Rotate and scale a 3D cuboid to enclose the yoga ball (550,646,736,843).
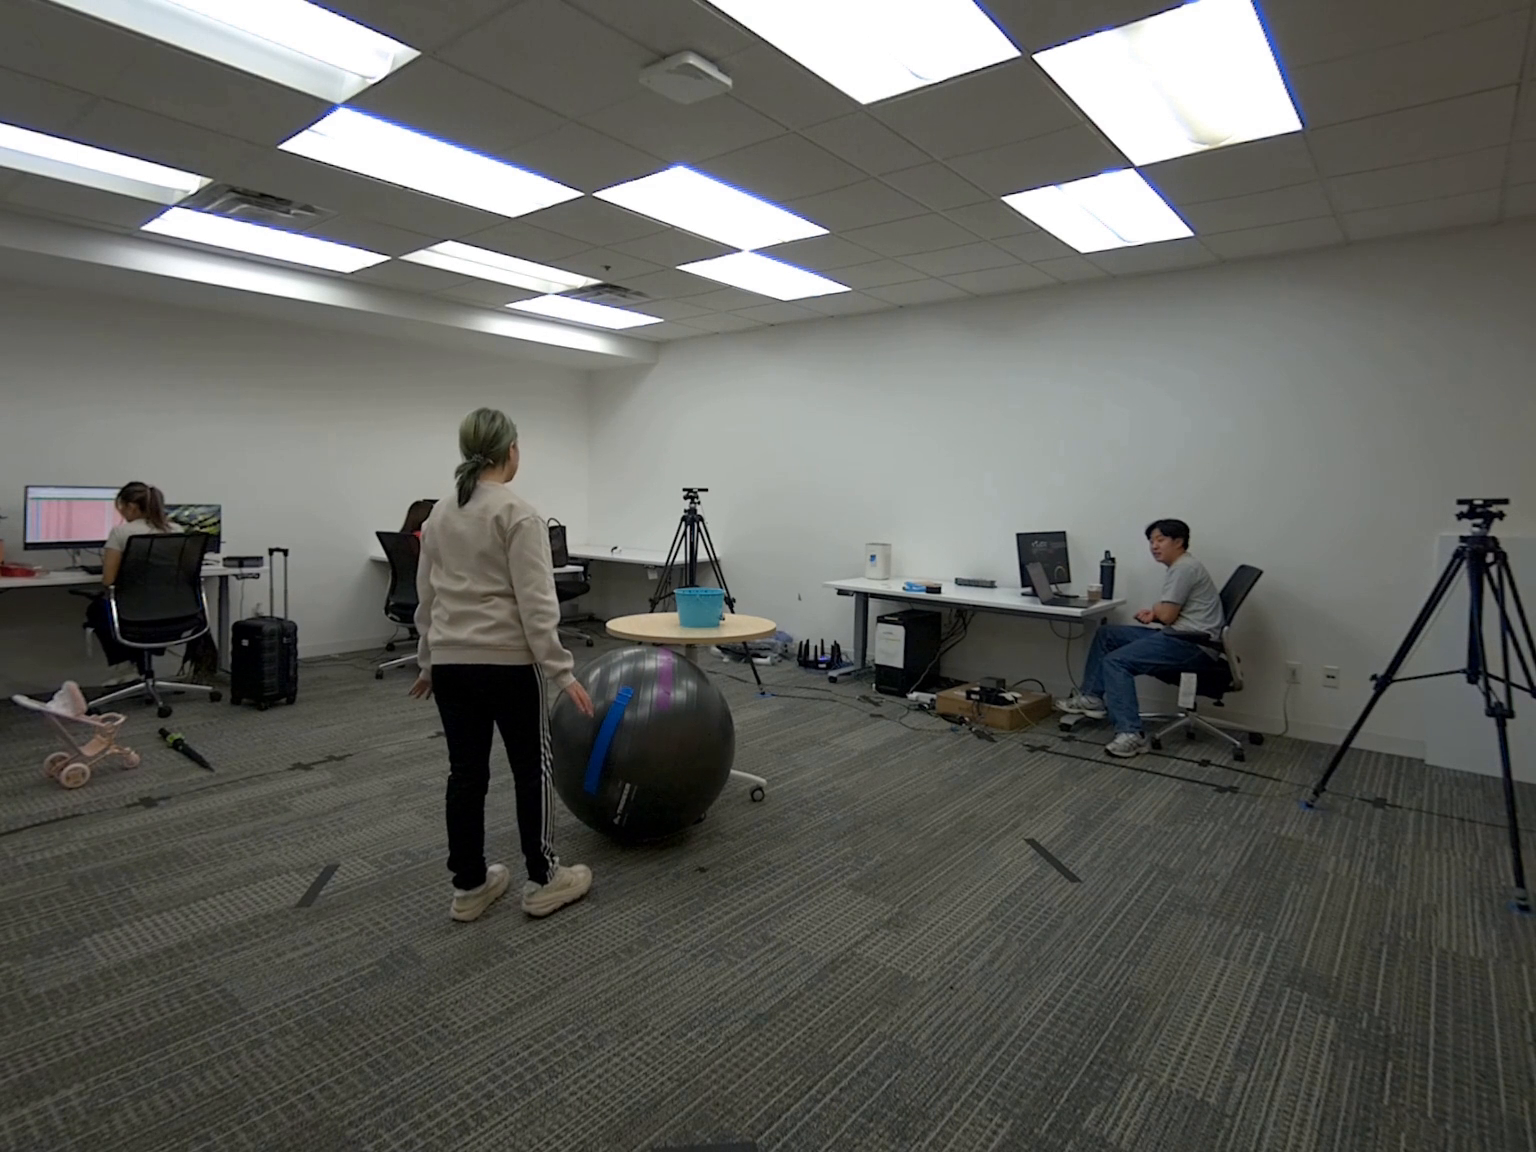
[{"bbox_3d":[-0.515,0.660,3.417,0.757,0.756,0.761,1,4,-2],"label":"yoga ball"}]
